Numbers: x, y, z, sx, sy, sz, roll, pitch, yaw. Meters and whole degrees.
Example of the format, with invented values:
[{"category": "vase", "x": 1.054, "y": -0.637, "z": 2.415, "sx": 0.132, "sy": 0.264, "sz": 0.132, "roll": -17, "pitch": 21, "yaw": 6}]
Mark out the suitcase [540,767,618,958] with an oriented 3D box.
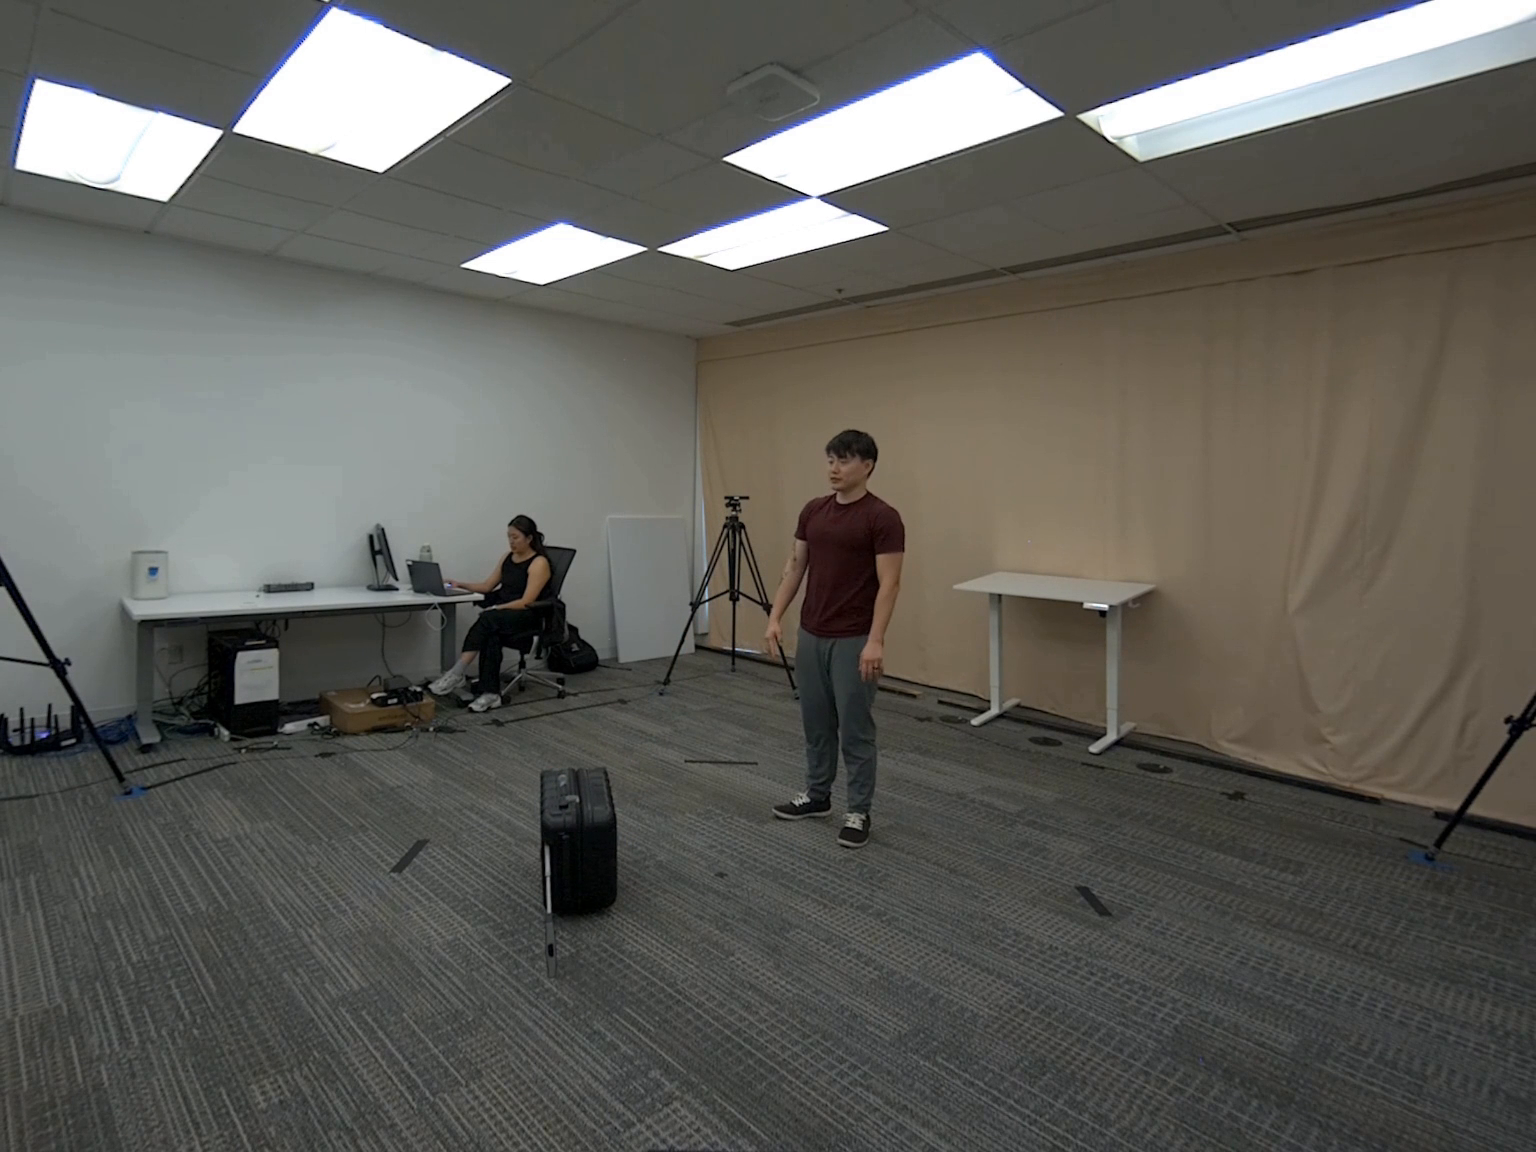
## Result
[{"category": "suitcase", "x": -0.616, "y": 0.938, "z": 2.767, "sx": 0.254, "sy": 0.383, "sz": 0.994, "roll": 0, "pitch": 6, "yaw": -17}]
